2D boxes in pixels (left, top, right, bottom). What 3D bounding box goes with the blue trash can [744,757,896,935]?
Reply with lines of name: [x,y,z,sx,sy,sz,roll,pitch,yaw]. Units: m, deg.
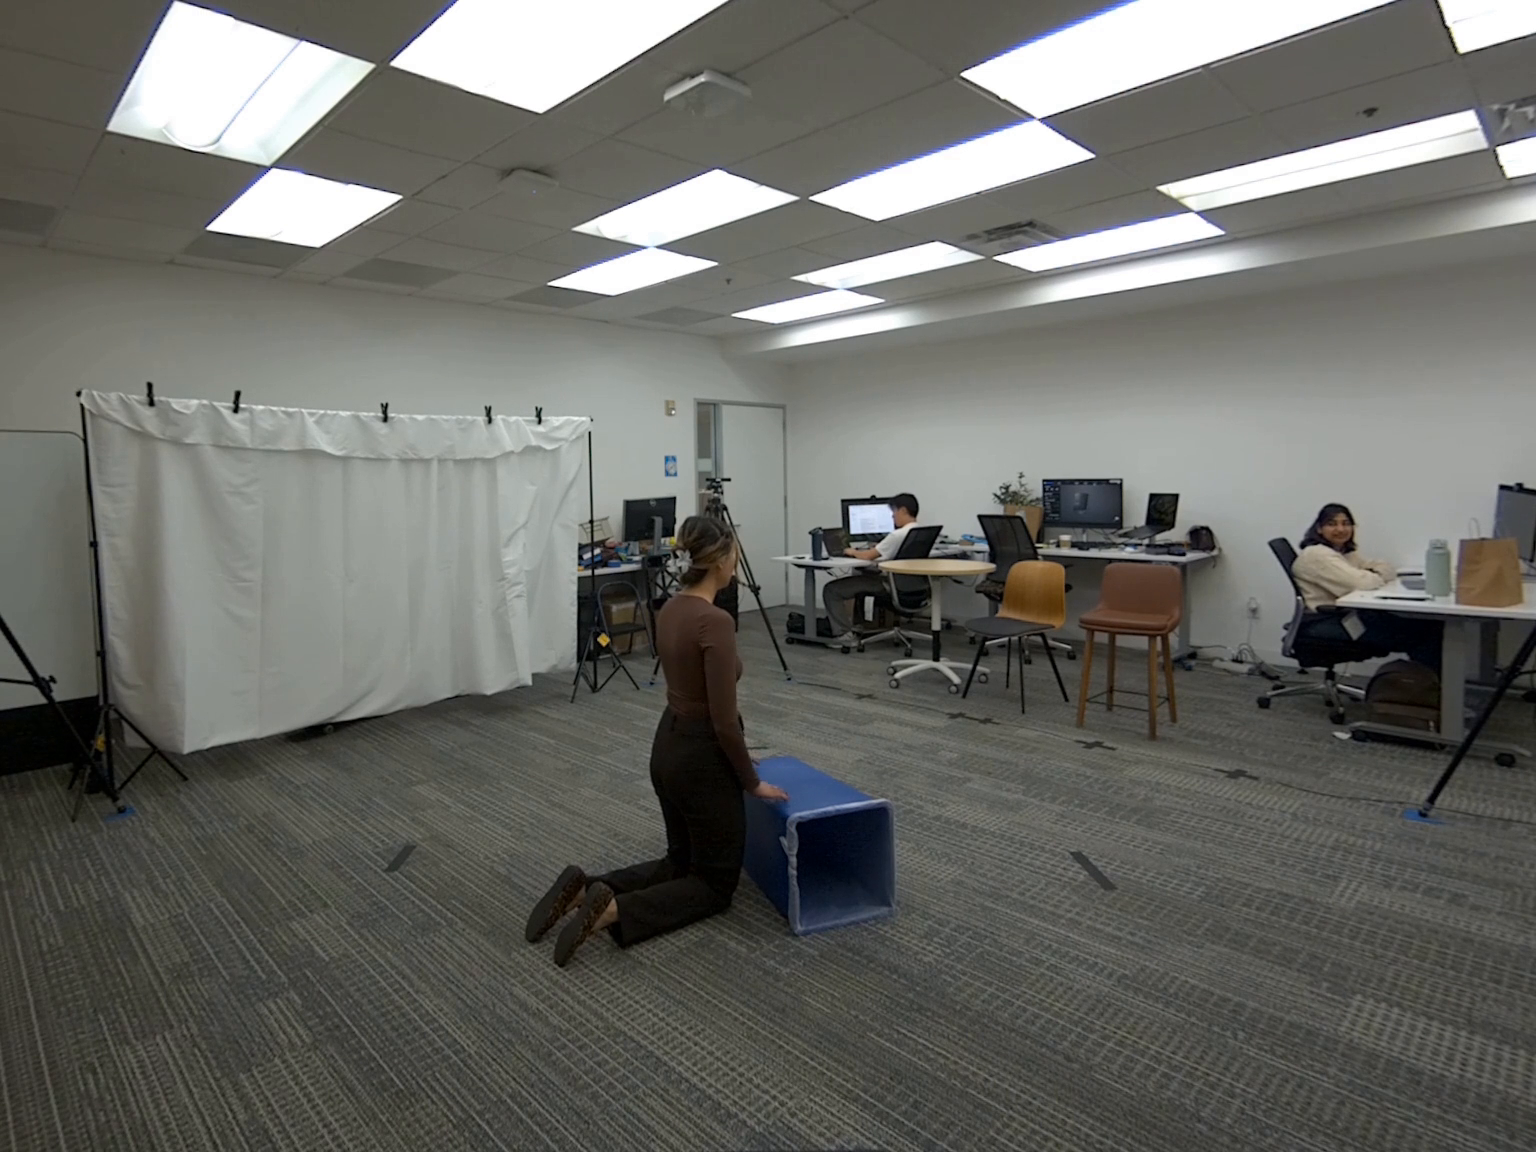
blue trash can: [0.104,0.879,2.990,0.367,0.377,0.728,-4,5,-21]
